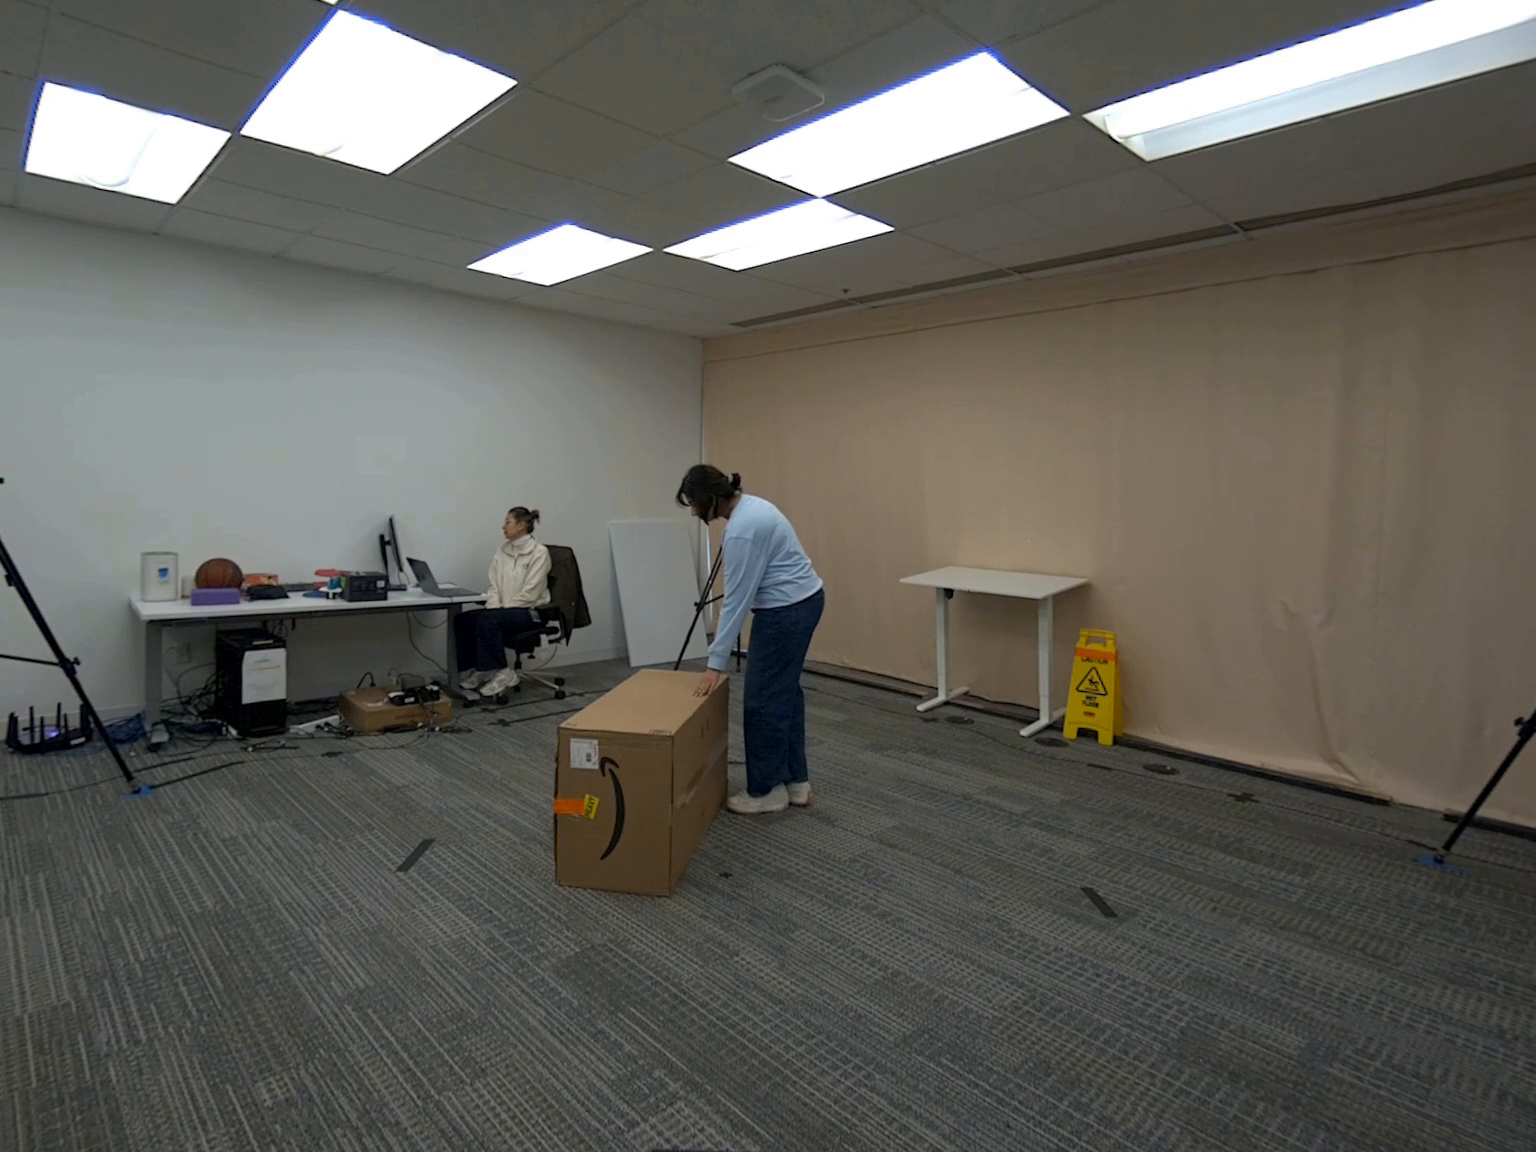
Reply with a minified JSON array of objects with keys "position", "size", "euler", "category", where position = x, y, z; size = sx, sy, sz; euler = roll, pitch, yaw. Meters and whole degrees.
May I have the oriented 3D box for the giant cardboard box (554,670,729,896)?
[{"position":[-0.478,0.775,3.440],"size":[0.430,0.576,1.020],"euler":[2,5,9],"category":"giant cardboard box"}]
